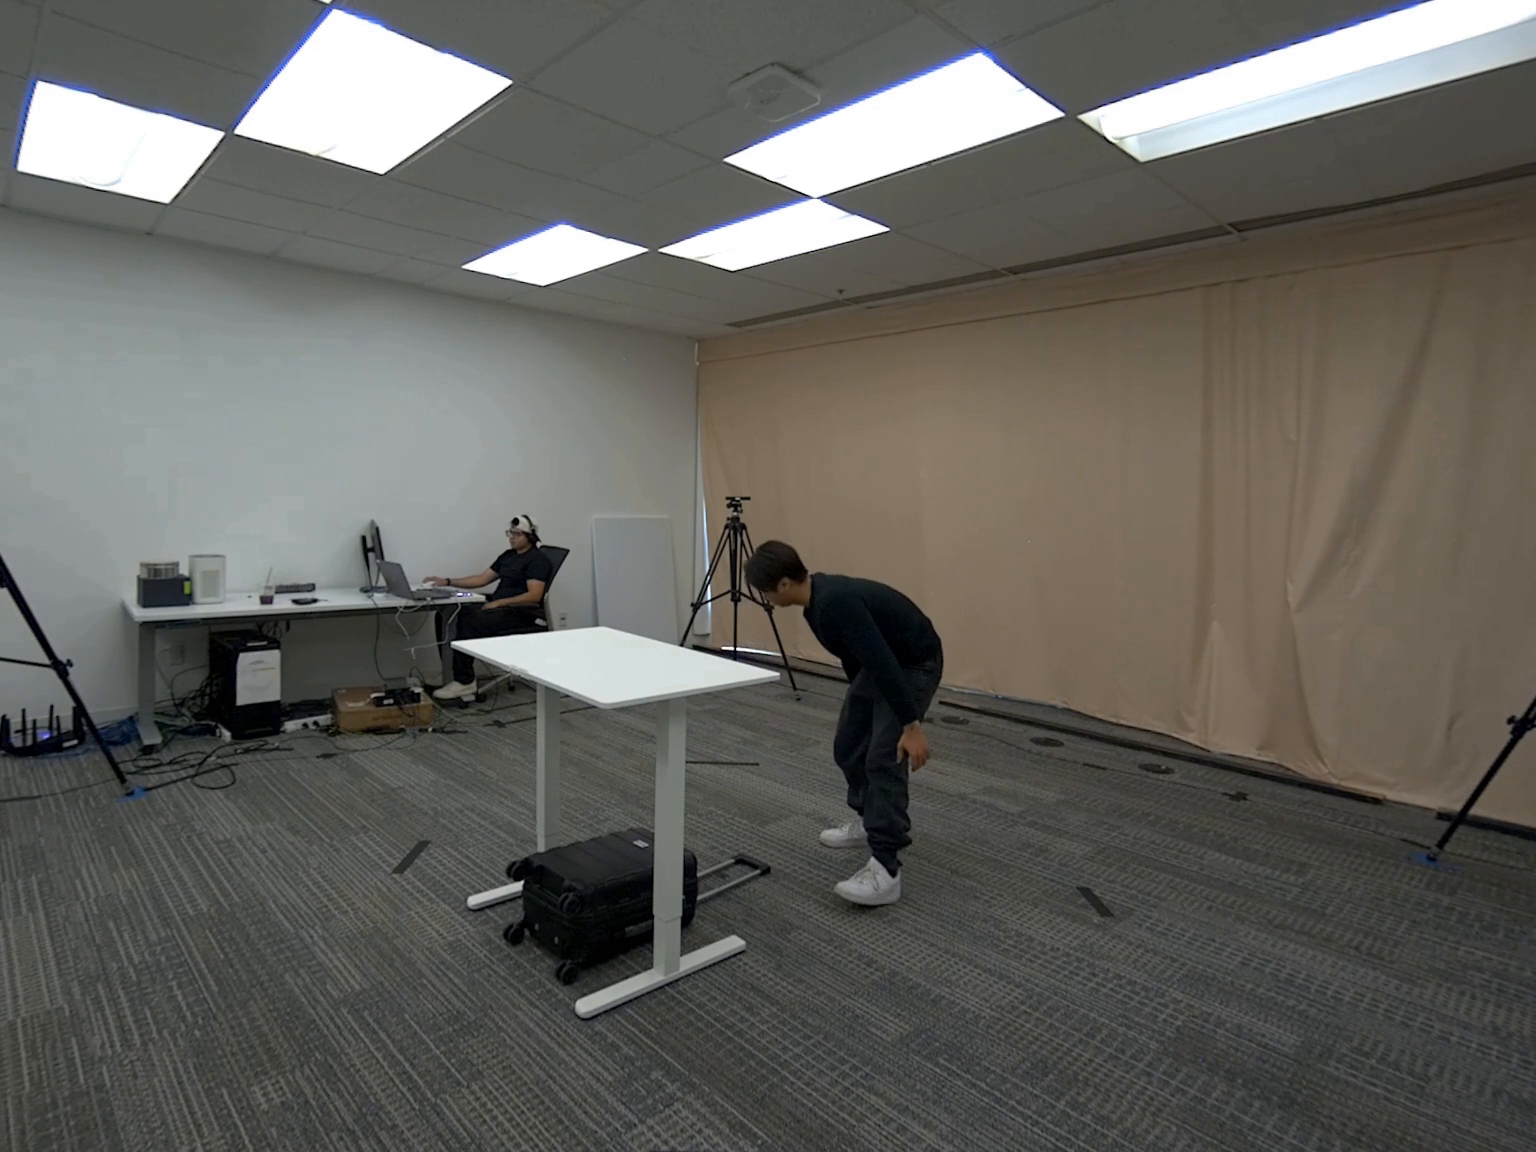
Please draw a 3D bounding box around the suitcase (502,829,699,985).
[{"bbox_3d":[-0.376,1.001,2.830,0.394,0.256,0.956,5,6,43],"label":"suitcase"}]
